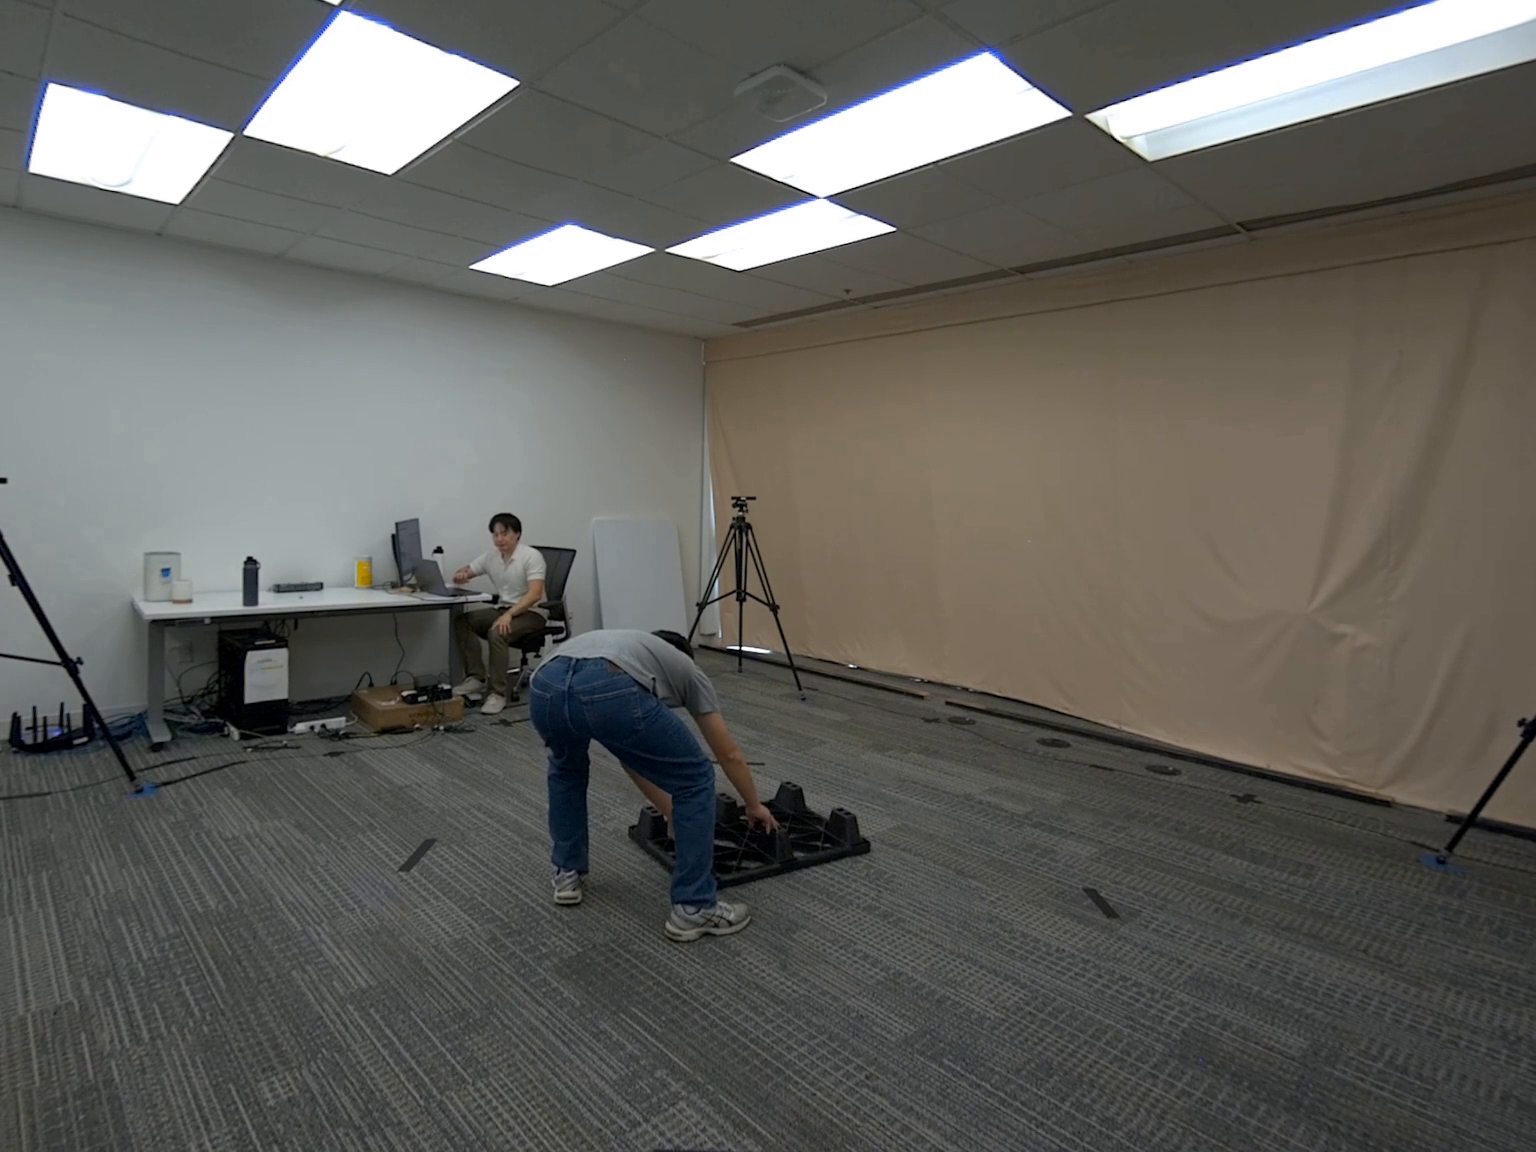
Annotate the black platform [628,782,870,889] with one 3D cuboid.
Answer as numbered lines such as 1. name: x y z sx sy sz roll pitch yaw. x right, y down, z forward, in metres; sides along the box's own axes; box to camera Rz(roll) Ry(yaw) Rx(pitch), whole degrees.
1. black platform: -0.090 1.016 3.395 0.788 0.143 0.620 -1 6 -32
